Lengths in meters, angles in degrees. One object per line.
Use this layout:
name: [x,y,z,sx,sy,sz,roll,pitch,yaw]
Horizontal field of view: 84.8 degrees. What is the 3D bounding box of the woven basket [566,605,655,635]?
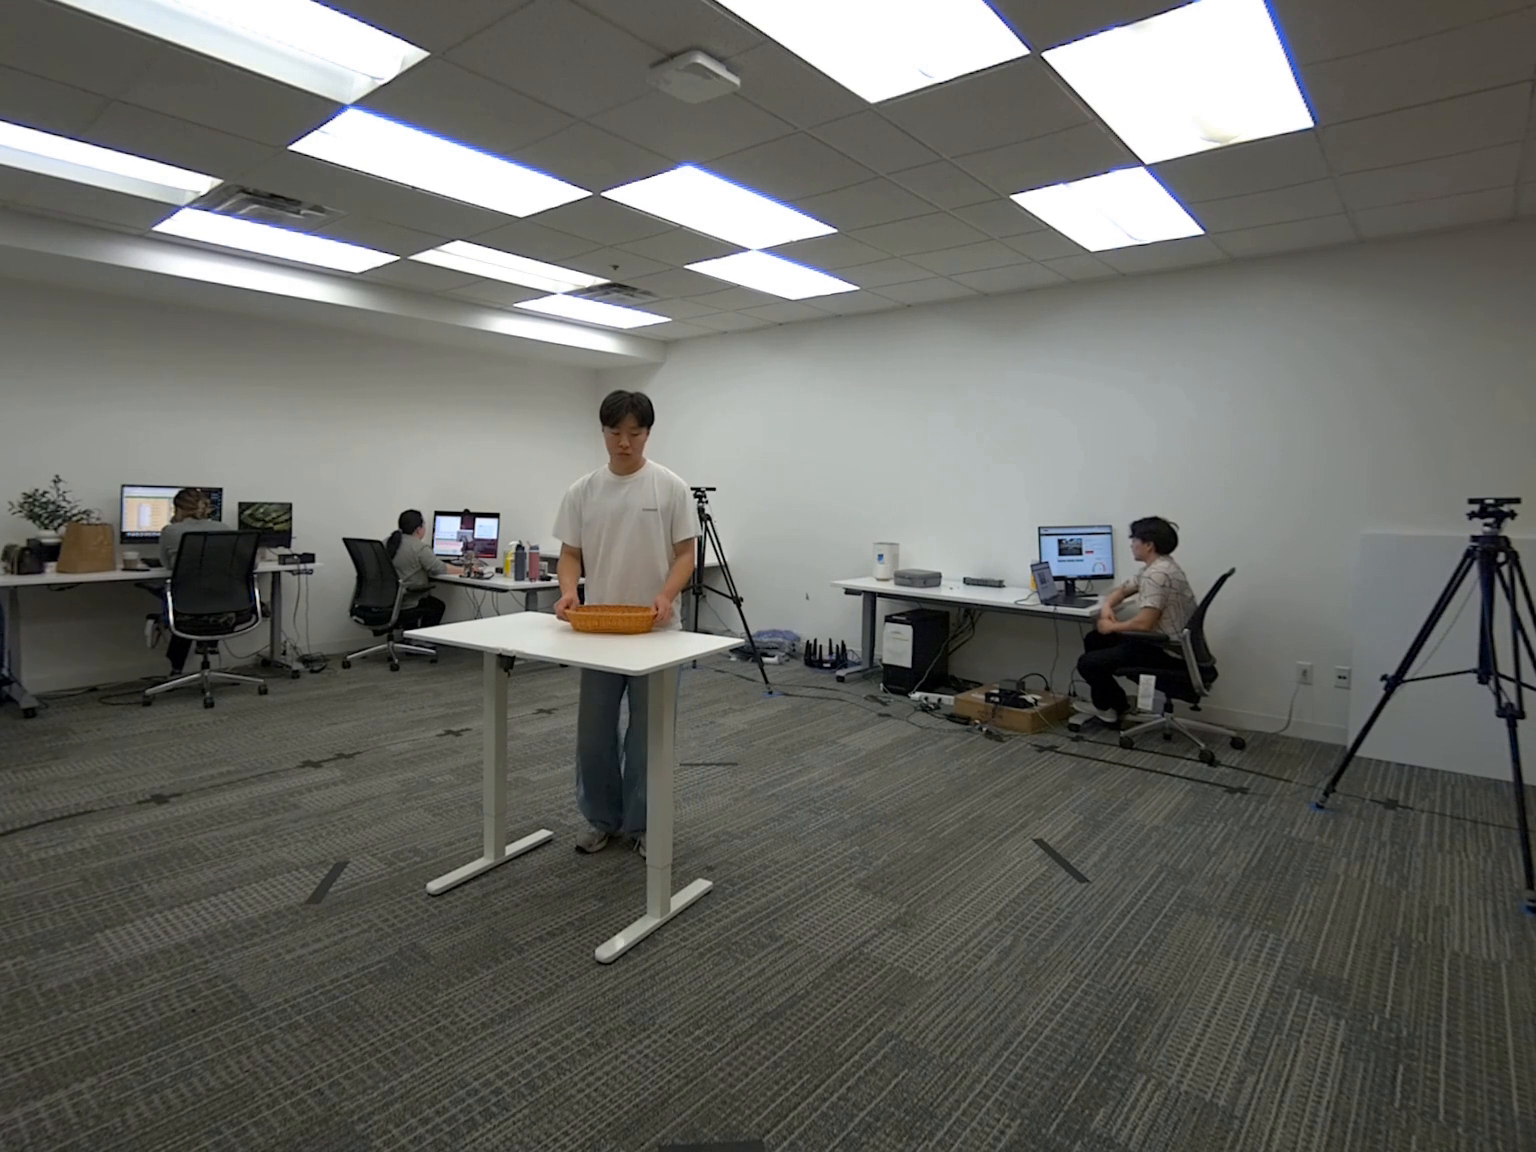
woven basket: [-0.572,0.142,3.015,0.354,0.073,0.250,2,5,10]
